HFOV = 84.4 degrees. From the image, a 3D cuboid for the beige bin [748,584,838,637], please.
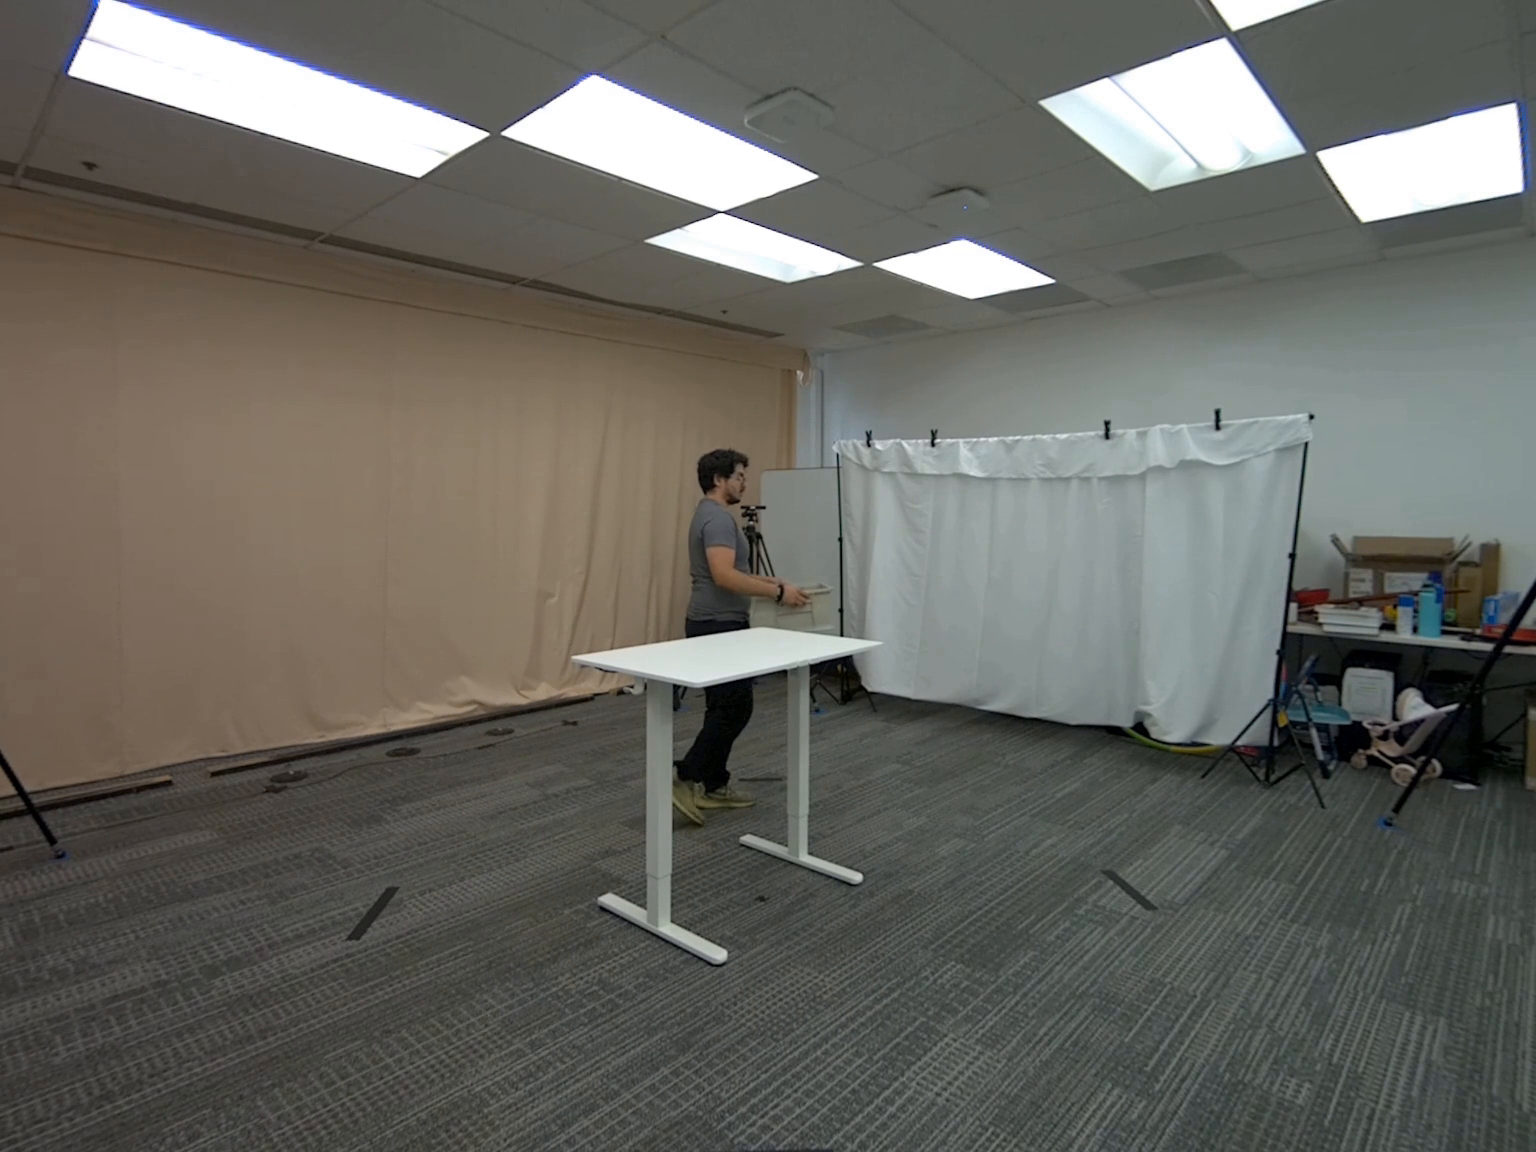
[{"bbox_3d":[0.093,0.150,3.908,0.377,0.189,0.423,-4,2,-1],"label":"beige bin"}]
